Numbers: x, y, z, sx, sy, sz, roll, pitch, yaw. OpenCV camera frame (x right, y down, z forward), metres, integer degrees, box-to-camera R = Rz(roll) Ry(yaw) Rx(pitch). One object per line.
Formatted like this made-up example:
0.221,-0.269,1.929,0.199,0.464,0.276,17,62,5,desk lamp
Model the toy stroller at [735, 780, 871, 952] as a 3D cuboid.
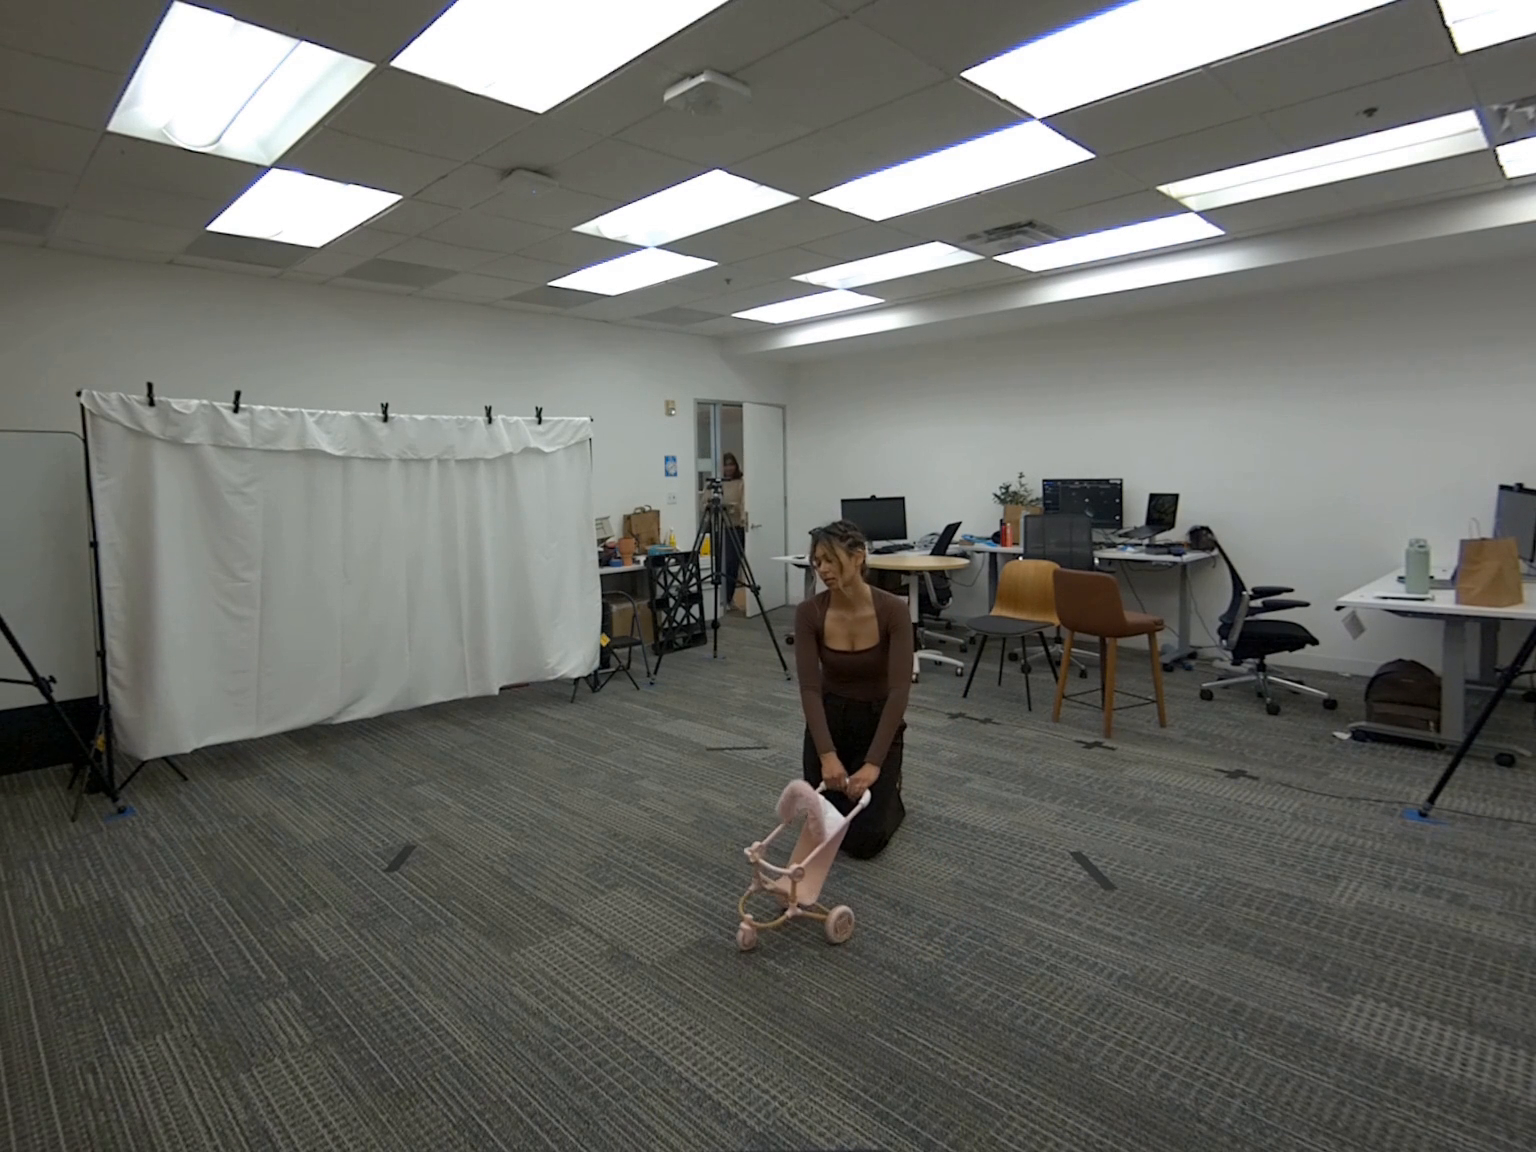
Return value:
0.095,0.872,2.630,0.331,0.536,0.289,16,-5,-30,toy stroller
